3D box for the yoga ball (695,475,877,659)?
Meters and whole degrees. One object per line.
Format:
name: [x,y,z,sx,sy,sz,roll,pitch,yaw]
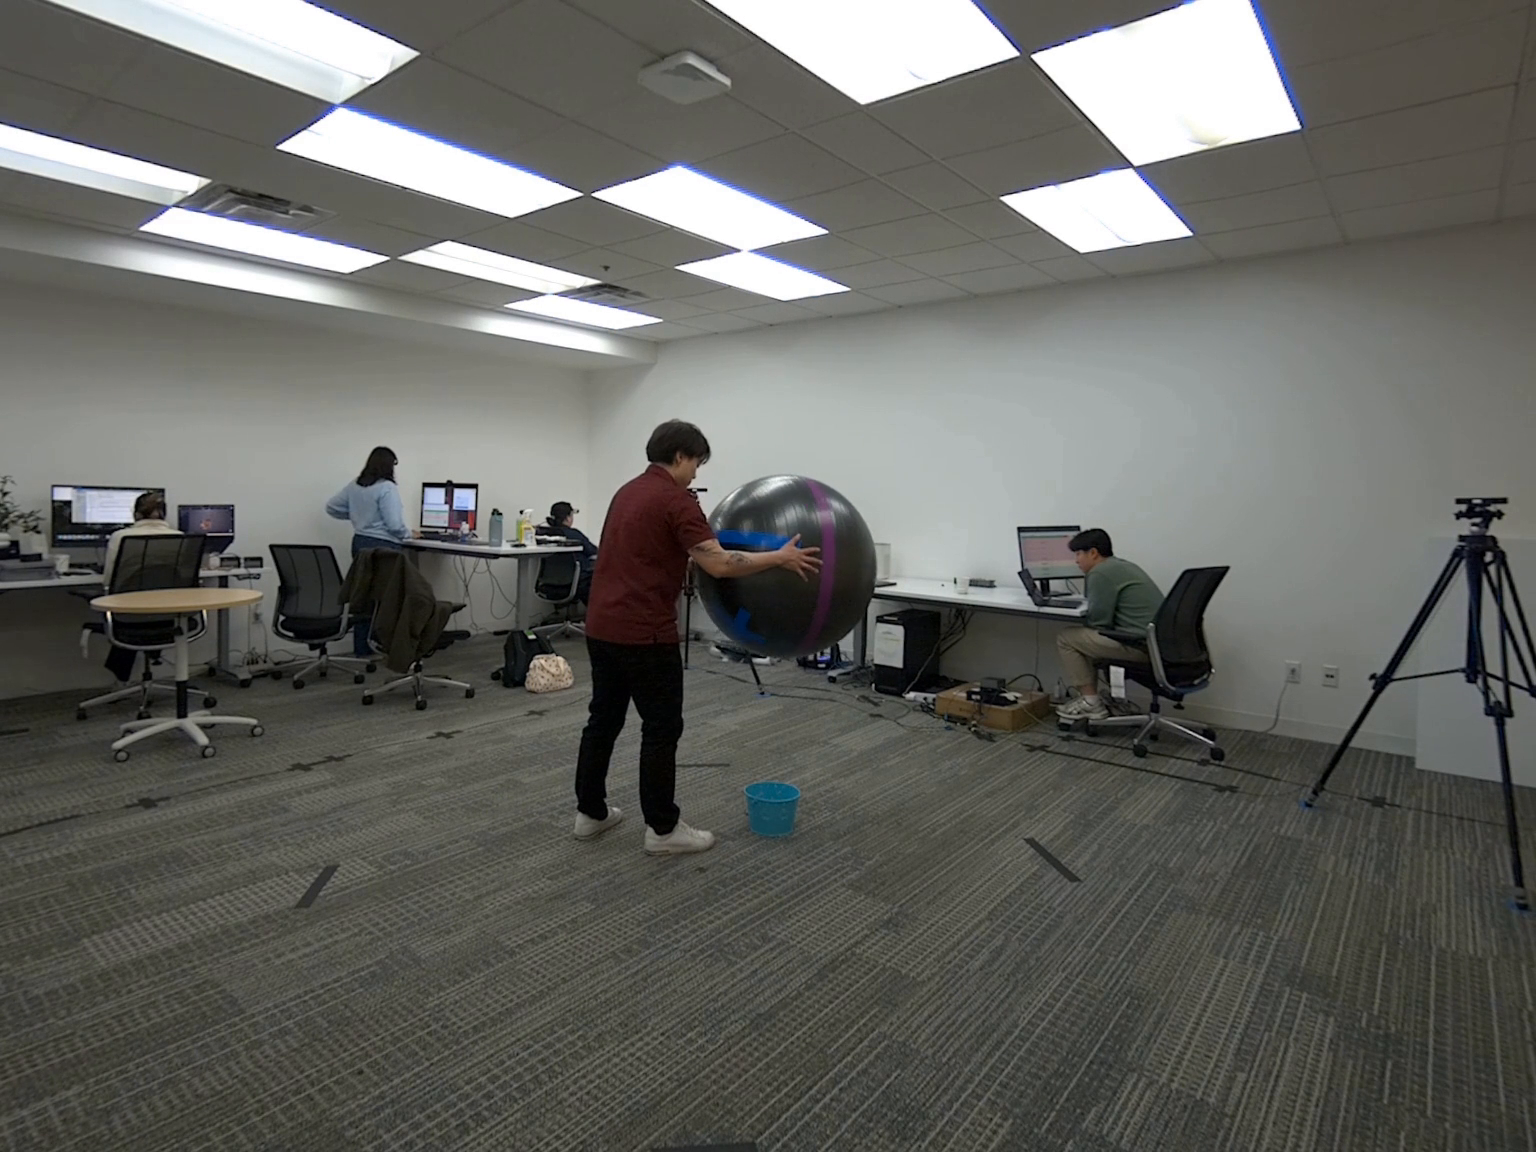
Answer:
yoga ball: [0.067,-0.041,3.564,0.757,0.755,0.762,1,4,-2]
